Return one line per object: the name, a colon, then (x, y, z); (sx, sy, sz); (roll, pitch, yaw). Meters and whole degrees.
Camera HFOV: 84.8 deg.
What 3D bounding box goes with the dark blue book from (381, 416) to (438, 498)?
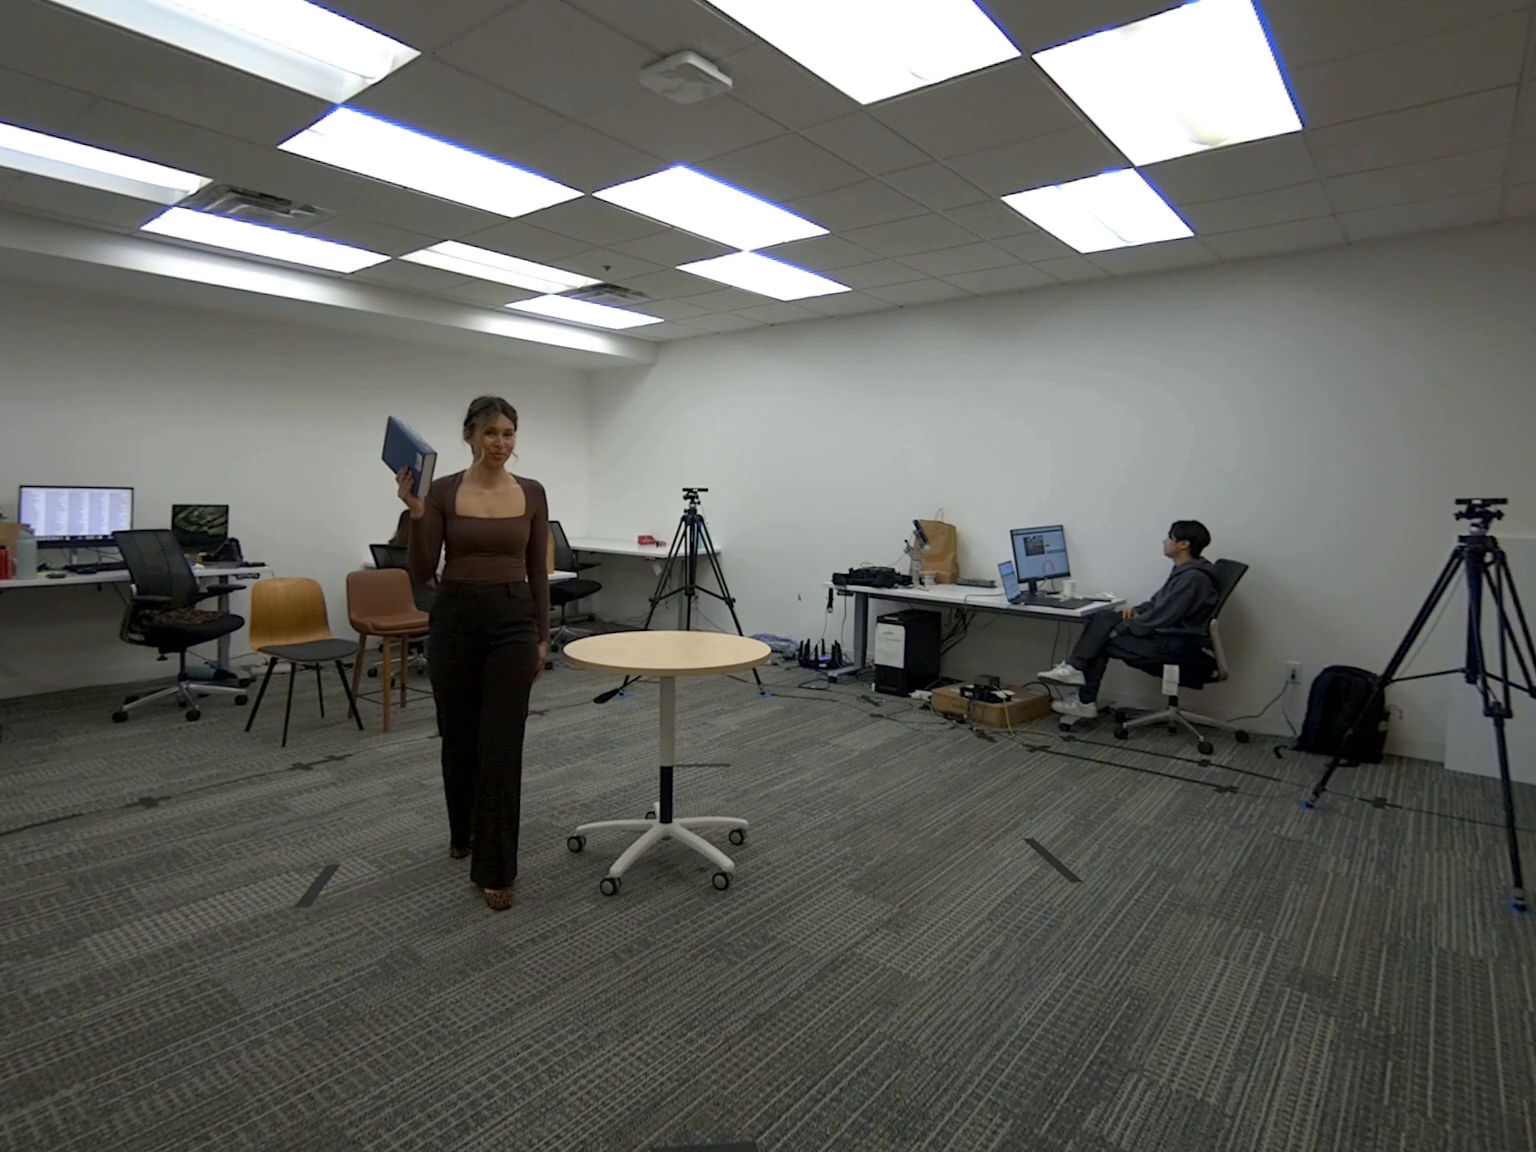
dark blue book: (-1.157, -0.385, 2.715); (0.254, 0.161, 0.044); (40, 31, 28)
